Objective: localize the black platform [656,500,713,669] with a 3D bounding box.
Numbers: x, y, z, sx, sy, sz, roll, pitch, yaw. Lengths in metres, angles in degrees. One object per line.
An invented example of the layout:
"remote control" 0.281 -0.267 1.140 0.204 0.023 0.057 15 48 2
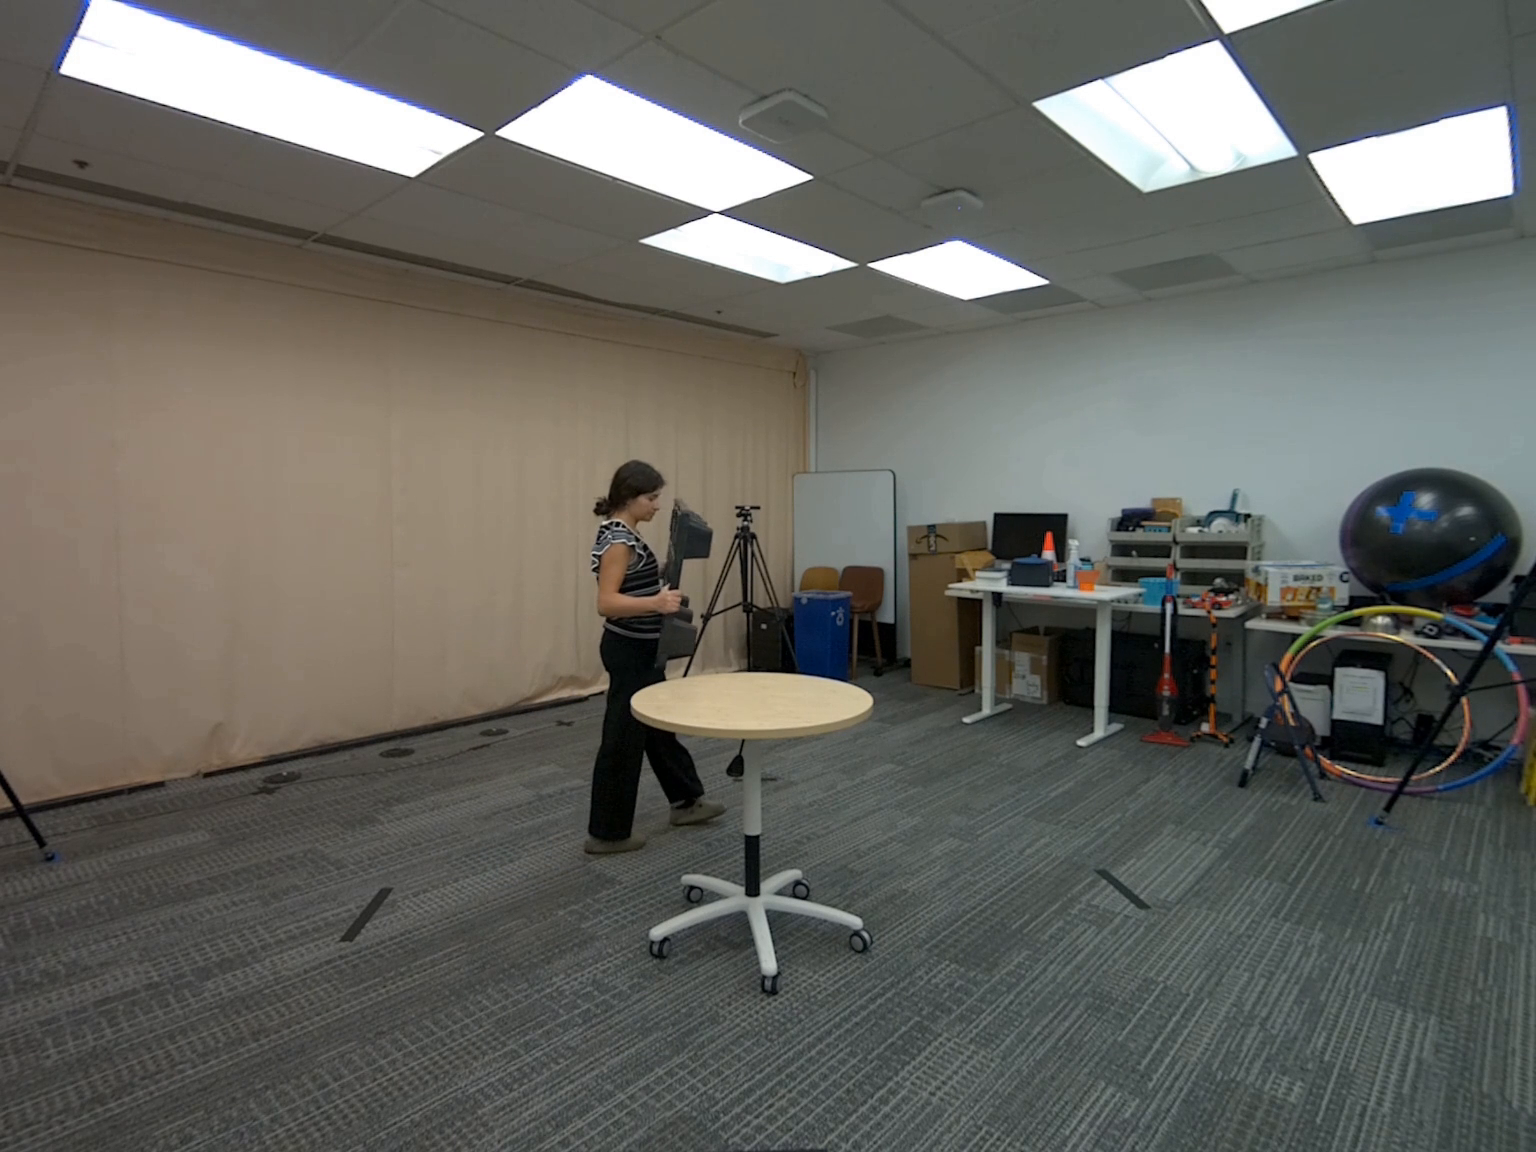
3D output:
"black platform" -0.346 0.002 3.451 0.142 0.603 0.813 8 6 -8
